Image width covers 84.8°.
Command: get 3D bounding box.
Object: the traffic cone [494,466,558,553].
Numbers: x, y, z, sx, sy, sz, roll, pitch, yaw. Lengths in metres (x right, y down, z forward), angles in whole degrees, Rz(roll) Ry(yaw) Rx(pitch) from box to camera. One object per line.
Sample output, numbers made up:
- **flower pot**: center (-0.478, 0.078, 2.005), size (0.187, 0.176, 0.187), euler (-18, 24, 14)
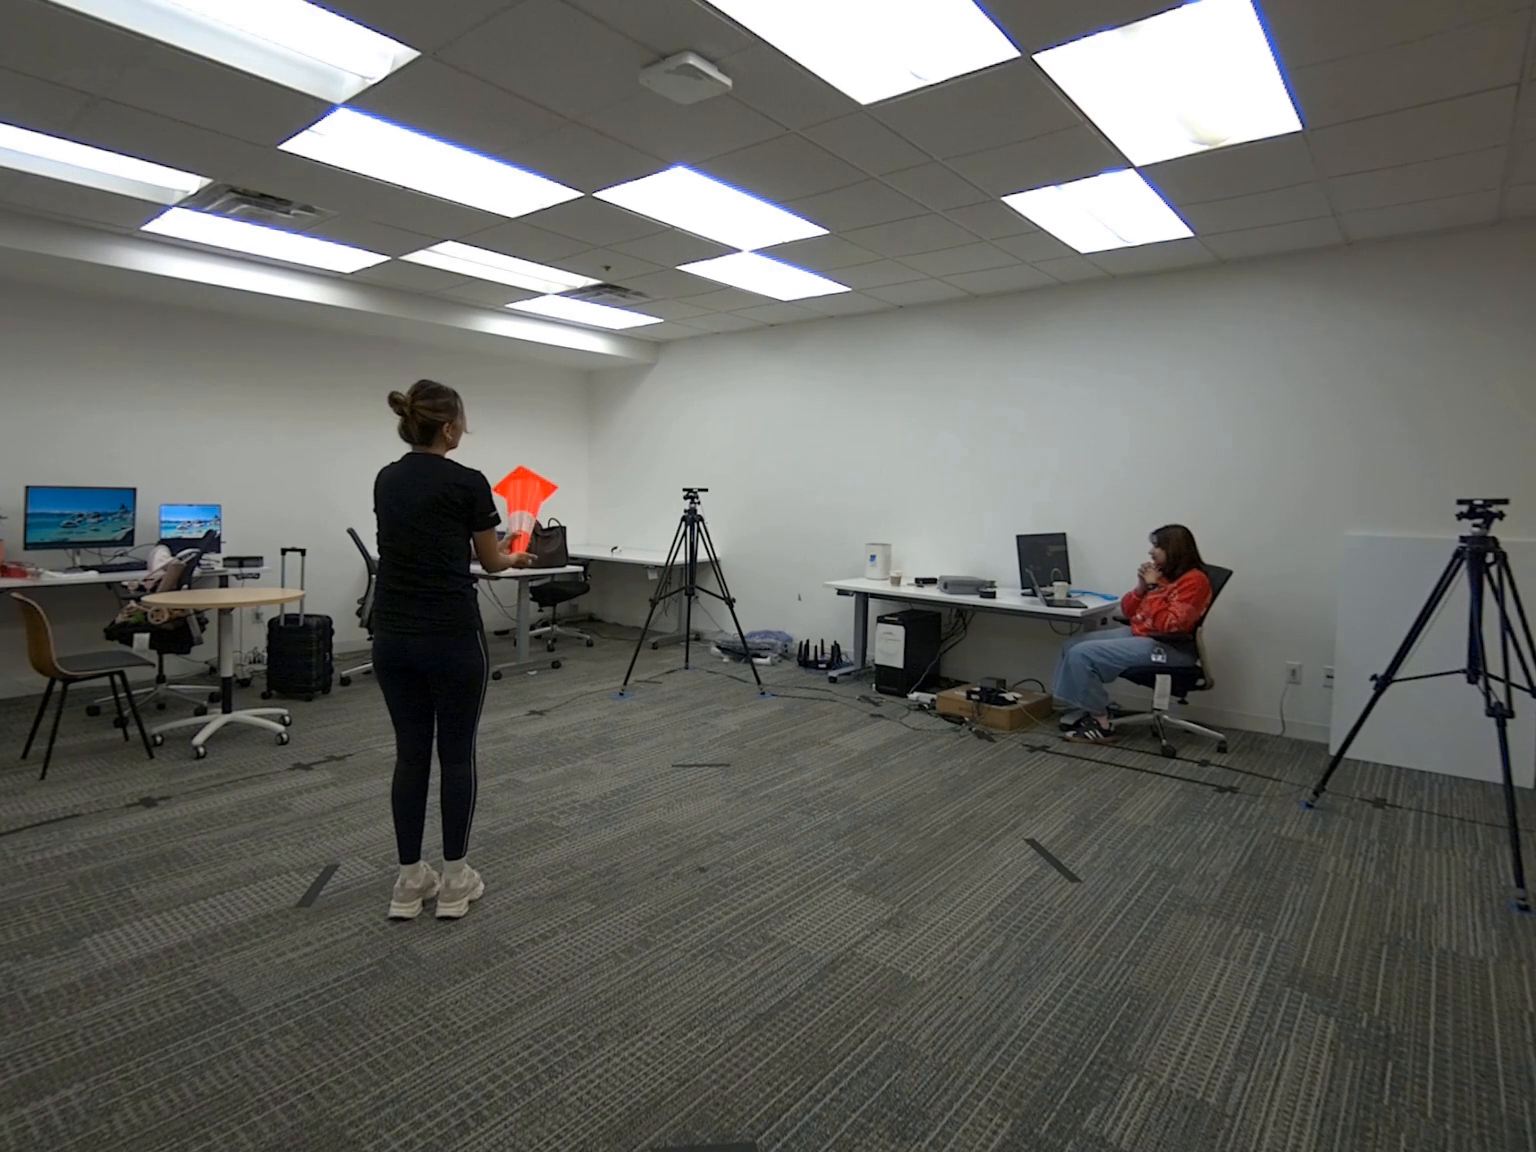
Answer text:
- **traffic cone**: center (-0.985, -0.182, 3.321), size (0.197, 0.396, 0.204), euler (26, -48, -33)
